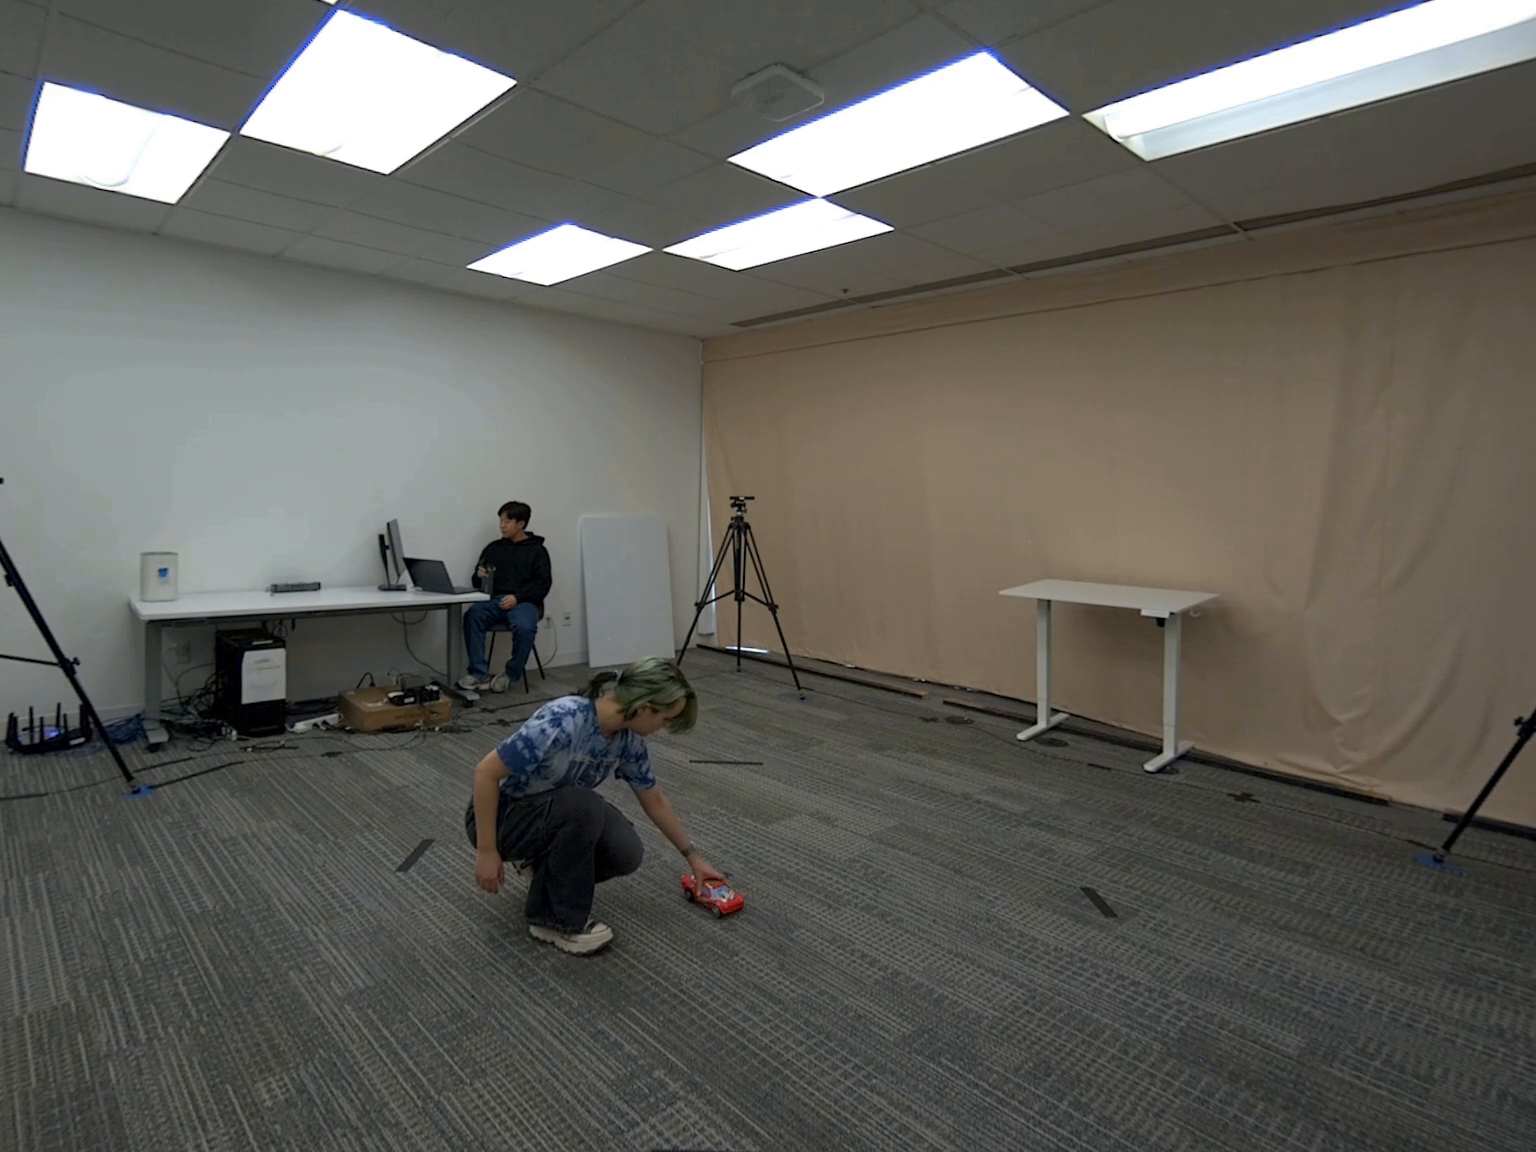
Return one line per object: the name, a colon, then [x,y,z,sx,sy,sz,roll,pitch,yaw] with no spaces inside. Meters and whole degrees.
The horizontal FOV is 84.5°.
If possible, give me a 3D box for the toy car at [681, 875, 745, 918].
toy car: [-0.209,1.092,2.891,0.127,0.082,0.262,-3,17,-40]
